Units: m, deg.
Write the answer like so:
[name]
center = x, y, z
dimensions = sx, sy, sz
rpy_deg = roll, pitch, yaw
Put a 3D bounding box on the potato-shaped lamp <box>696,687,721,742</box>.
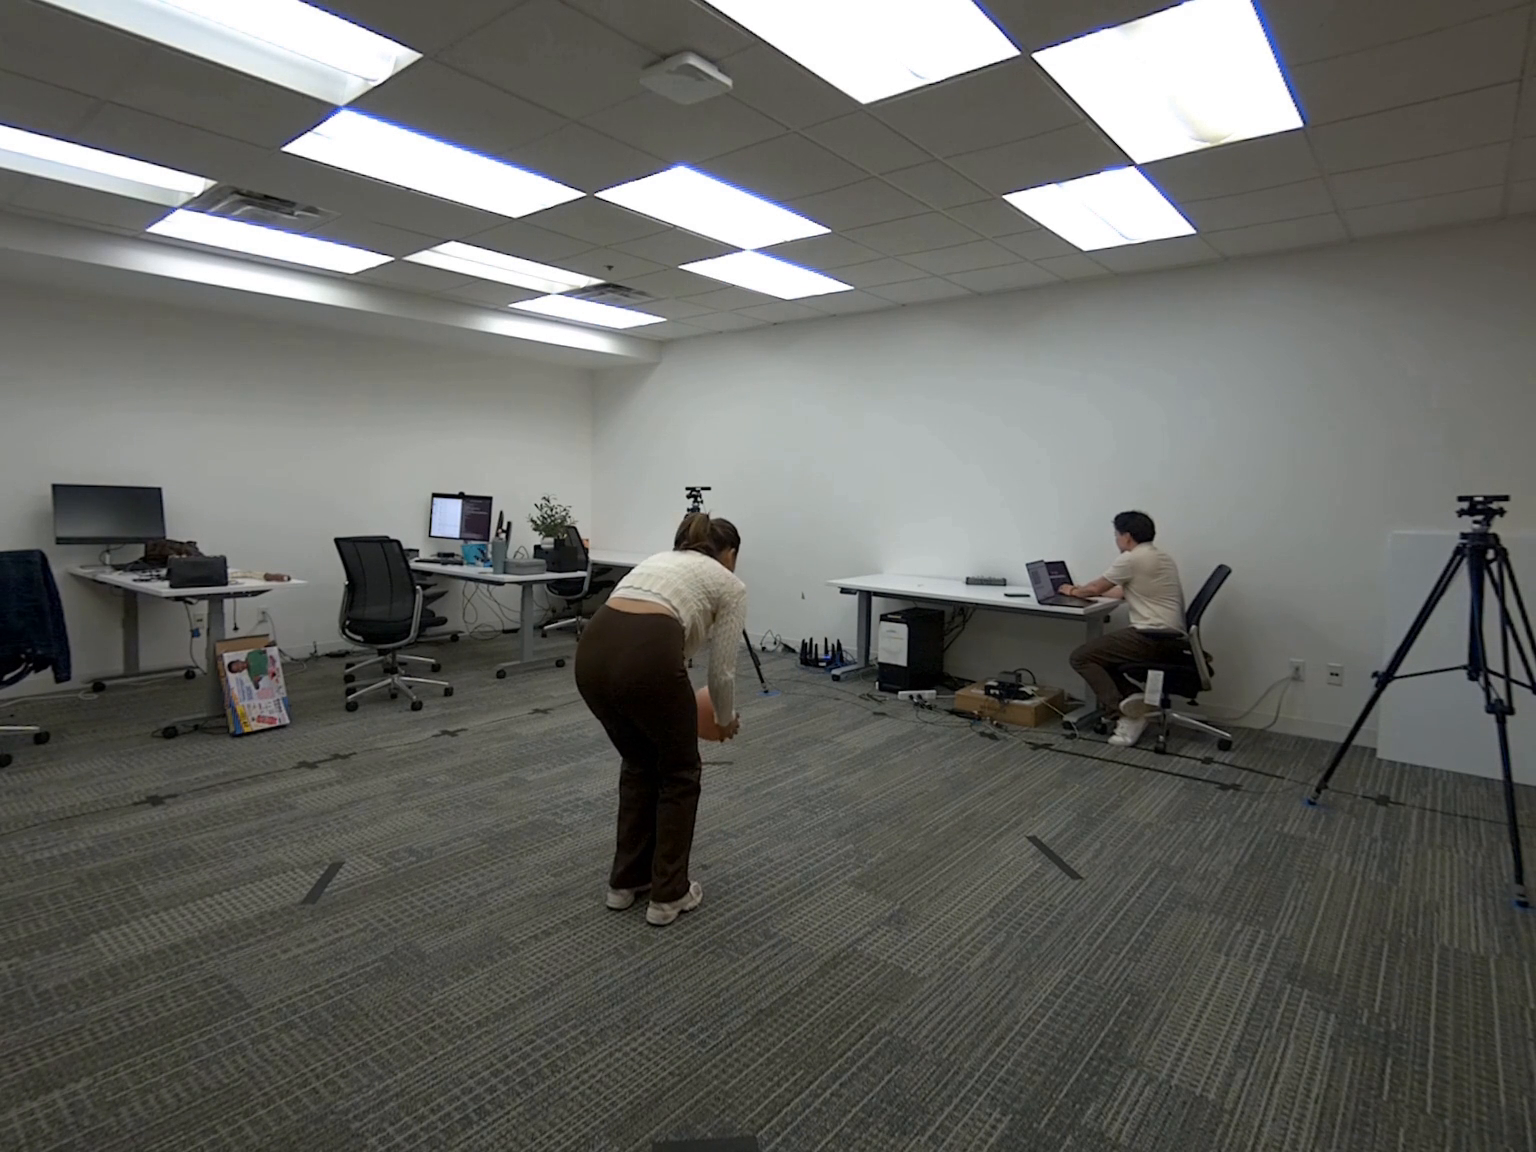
[potato-shaped lamp]
center = -0.215, 0.503, 3.135
dimensions = 0.171, 0.195, 0.167
rpy_deg = 16, 19, 41
